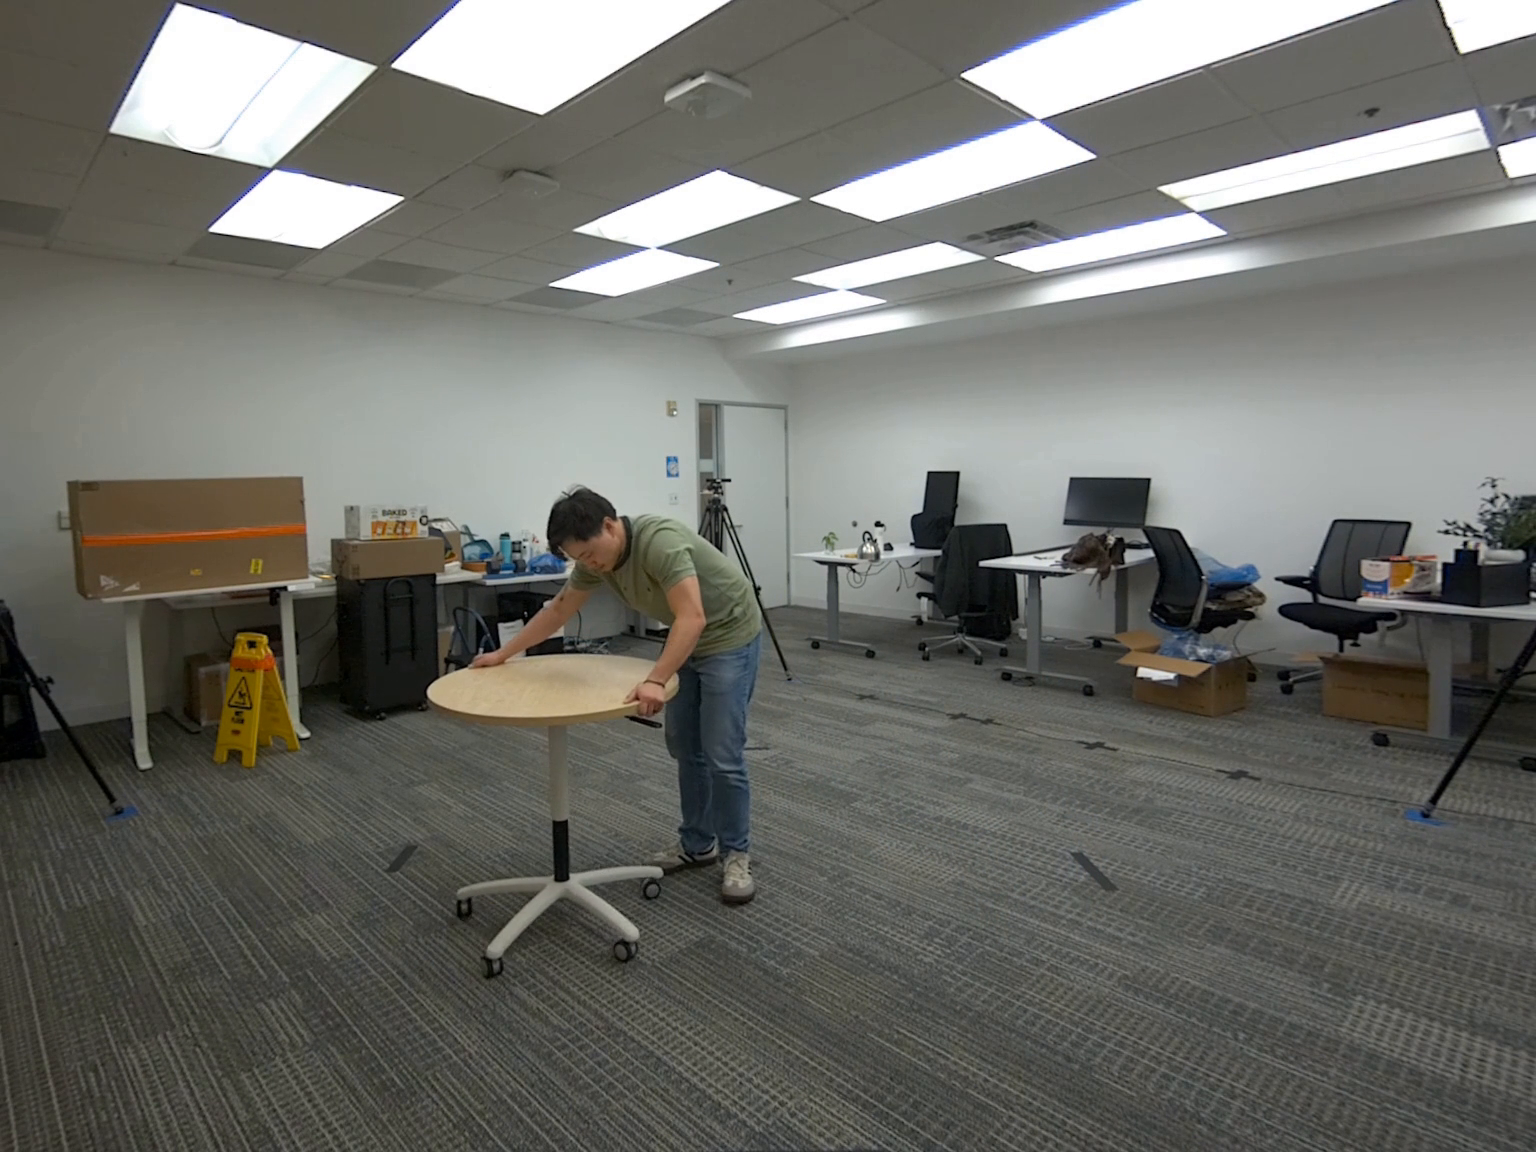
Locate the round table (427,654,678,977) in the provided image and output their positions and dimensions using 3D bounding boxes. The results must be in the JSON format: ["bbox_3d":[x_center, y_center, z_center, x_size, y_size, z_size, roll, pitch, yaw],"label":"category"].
[{"bbox_3d":[-0.655,0.718,2.697,0.763,0.790,0.768,-1,6,-2],"label":"round table"}]
